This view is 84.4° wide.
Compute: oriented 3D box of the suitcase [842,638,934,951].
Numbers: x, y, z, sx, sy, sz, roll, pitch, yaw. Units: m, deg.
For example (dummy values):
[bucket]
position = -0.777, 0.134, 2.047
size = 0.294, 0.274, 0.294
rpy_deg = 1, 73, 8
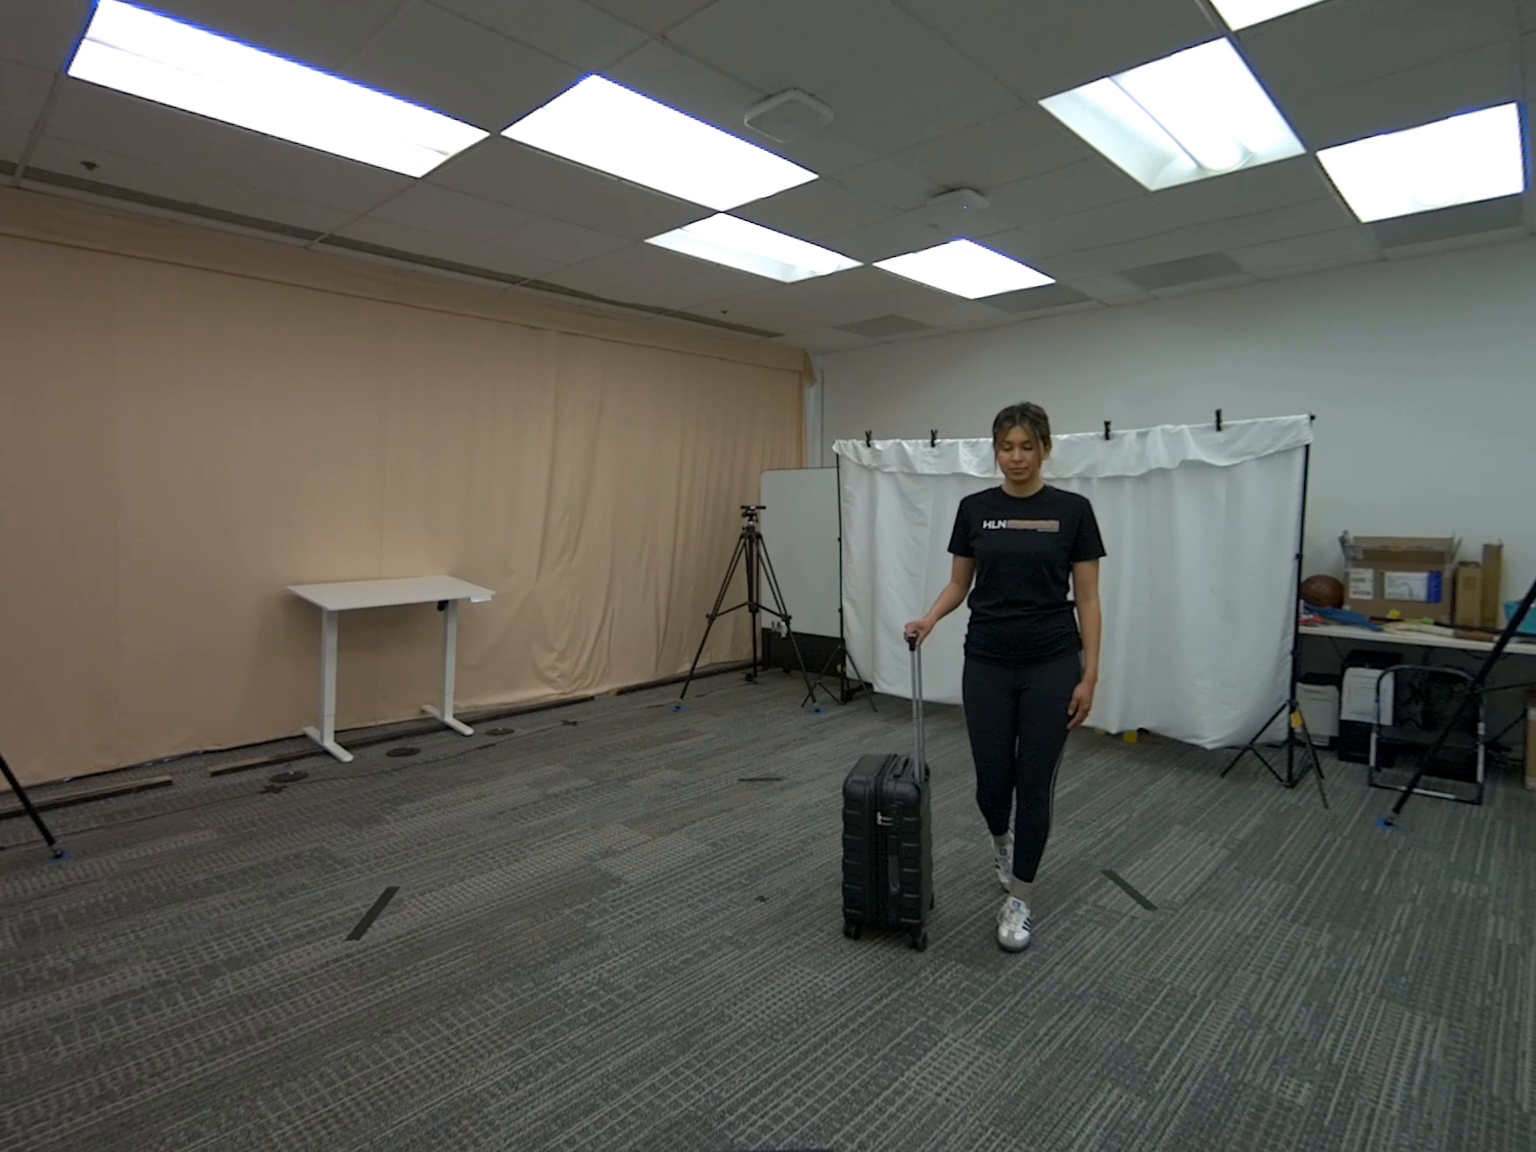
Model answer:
[suitcase]
position = 0.395, 0.689, 2.774
size = 0.262, 0.976, 0.378
rpy_deg = -2, 3, 17
